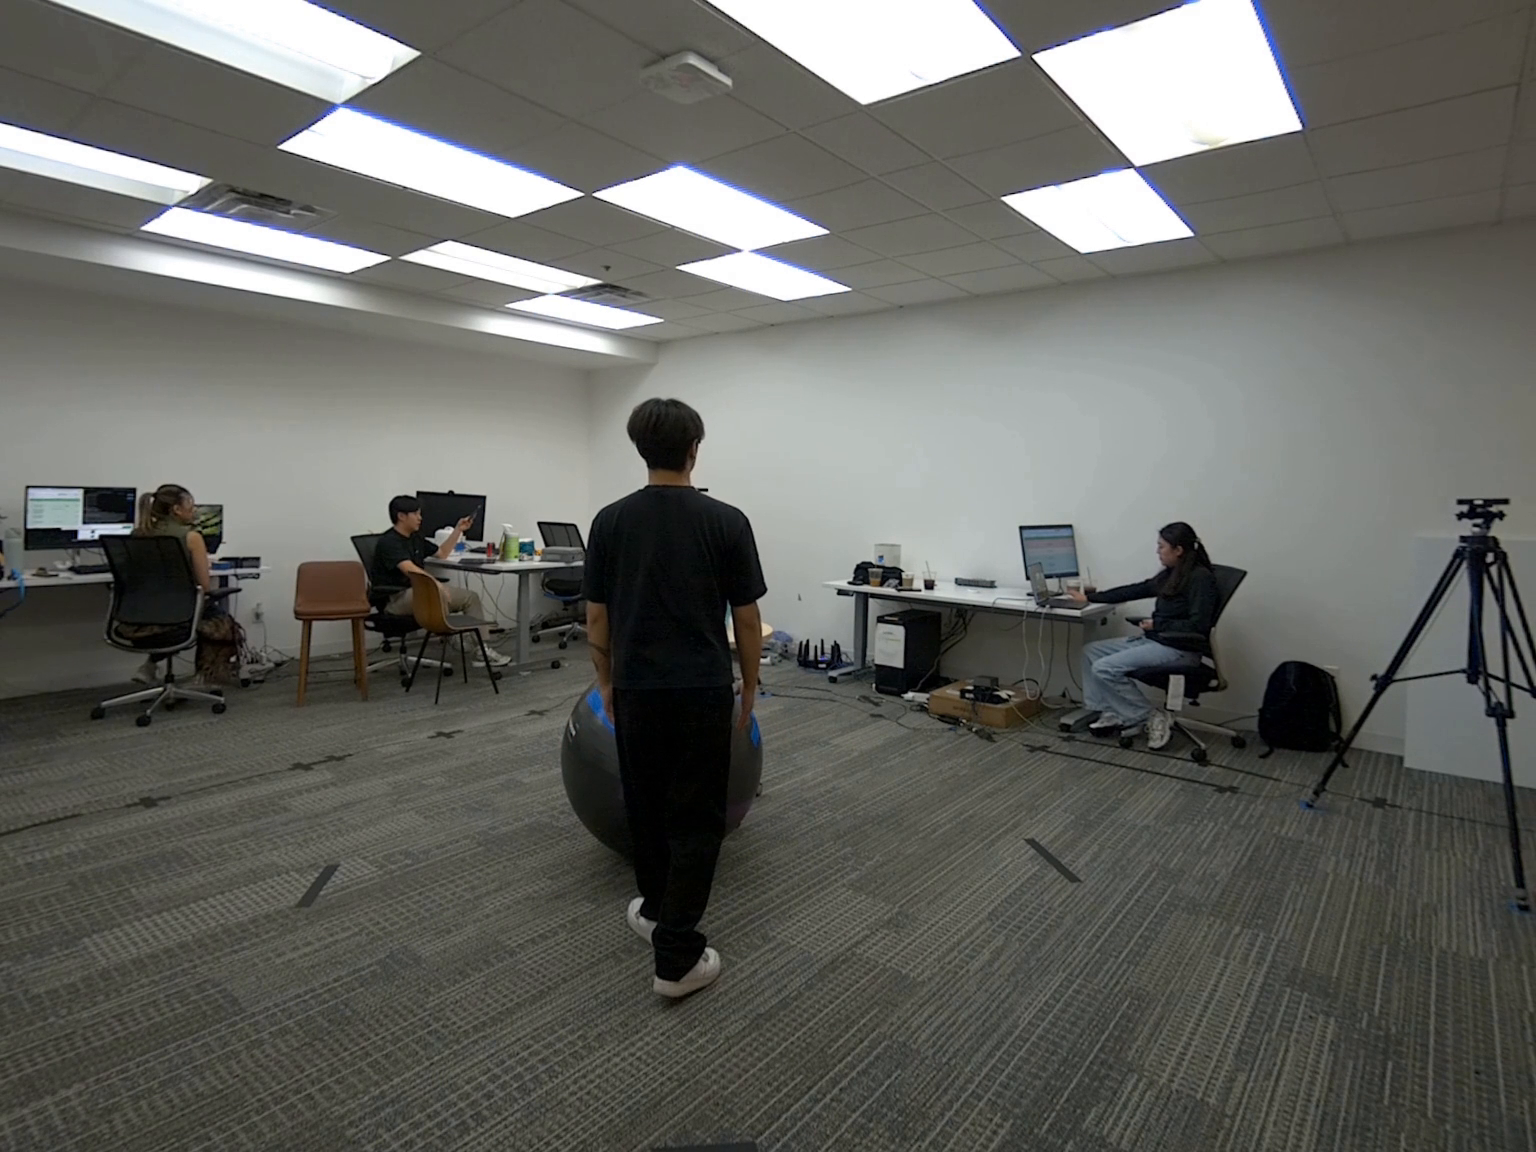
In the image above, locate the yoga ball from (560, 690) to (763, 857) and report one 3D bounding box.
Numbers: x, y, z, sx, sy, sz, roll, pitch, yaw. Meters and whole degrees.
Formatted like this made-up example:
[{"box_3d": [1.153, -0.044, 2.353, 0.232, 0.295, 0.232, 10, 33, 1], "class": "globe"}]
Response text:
[{"box_3d": [-0.410, 0.681, 3.228, 0.757, 0.755, 0.762, 1, 4, -2], "class": "yoga ball"}]
